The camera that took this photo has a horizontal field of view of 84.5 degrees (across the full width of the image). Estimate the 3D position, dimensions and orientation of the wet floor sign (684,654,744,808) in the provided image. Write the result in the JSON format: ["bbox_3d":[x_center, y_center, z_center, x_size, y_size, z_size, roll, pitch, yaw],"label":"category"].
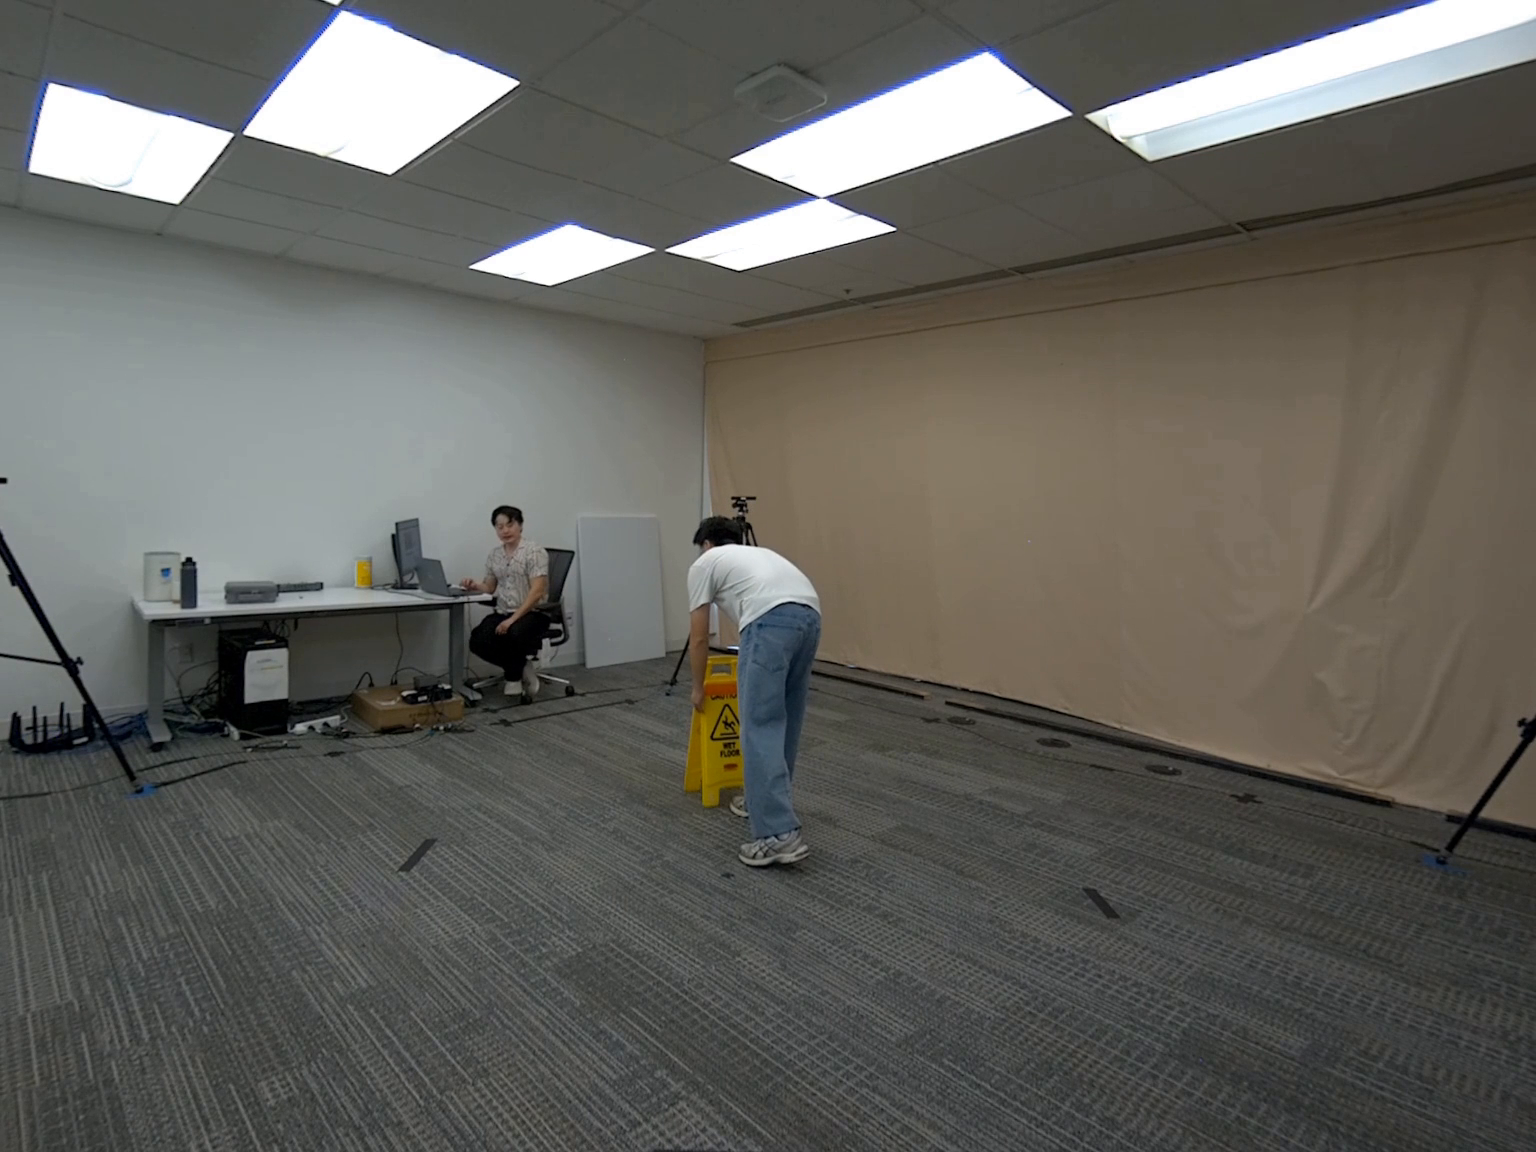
[{"bbox_3d":[-0.228,0.702,3.930,0.277,0.646,0.294,0,-1,-23],"label":"wet floor sign"}]
